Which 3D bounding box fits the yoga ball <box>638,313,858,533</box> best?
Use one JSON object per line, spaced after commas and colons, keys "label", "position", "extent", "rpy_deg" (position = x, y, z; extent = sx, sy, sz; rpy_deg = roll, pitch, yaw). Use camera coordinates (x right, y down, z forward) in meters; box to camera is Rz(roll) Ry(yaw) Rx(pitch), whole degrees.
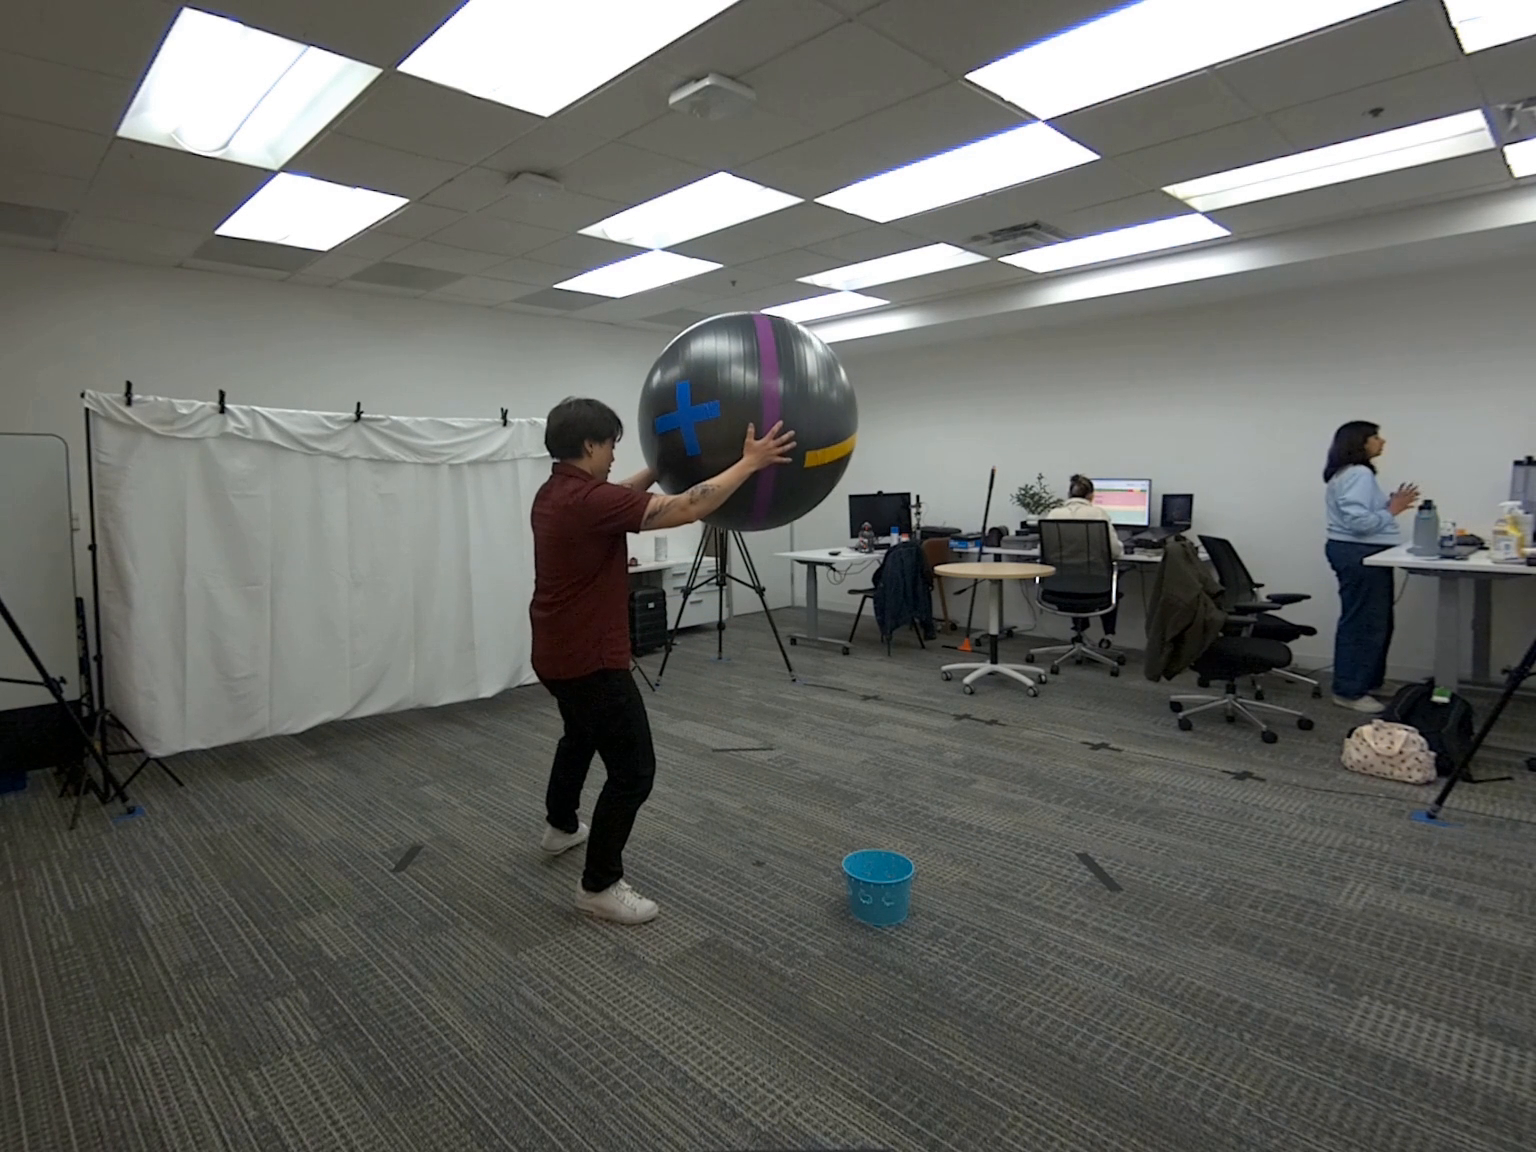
{"label": "yoga ball", "position": [-0.070, -0.522, 2.980], "extent": [0.757, 0.755, 0.762], "rpy_deg": [-1, 5, -2]}
